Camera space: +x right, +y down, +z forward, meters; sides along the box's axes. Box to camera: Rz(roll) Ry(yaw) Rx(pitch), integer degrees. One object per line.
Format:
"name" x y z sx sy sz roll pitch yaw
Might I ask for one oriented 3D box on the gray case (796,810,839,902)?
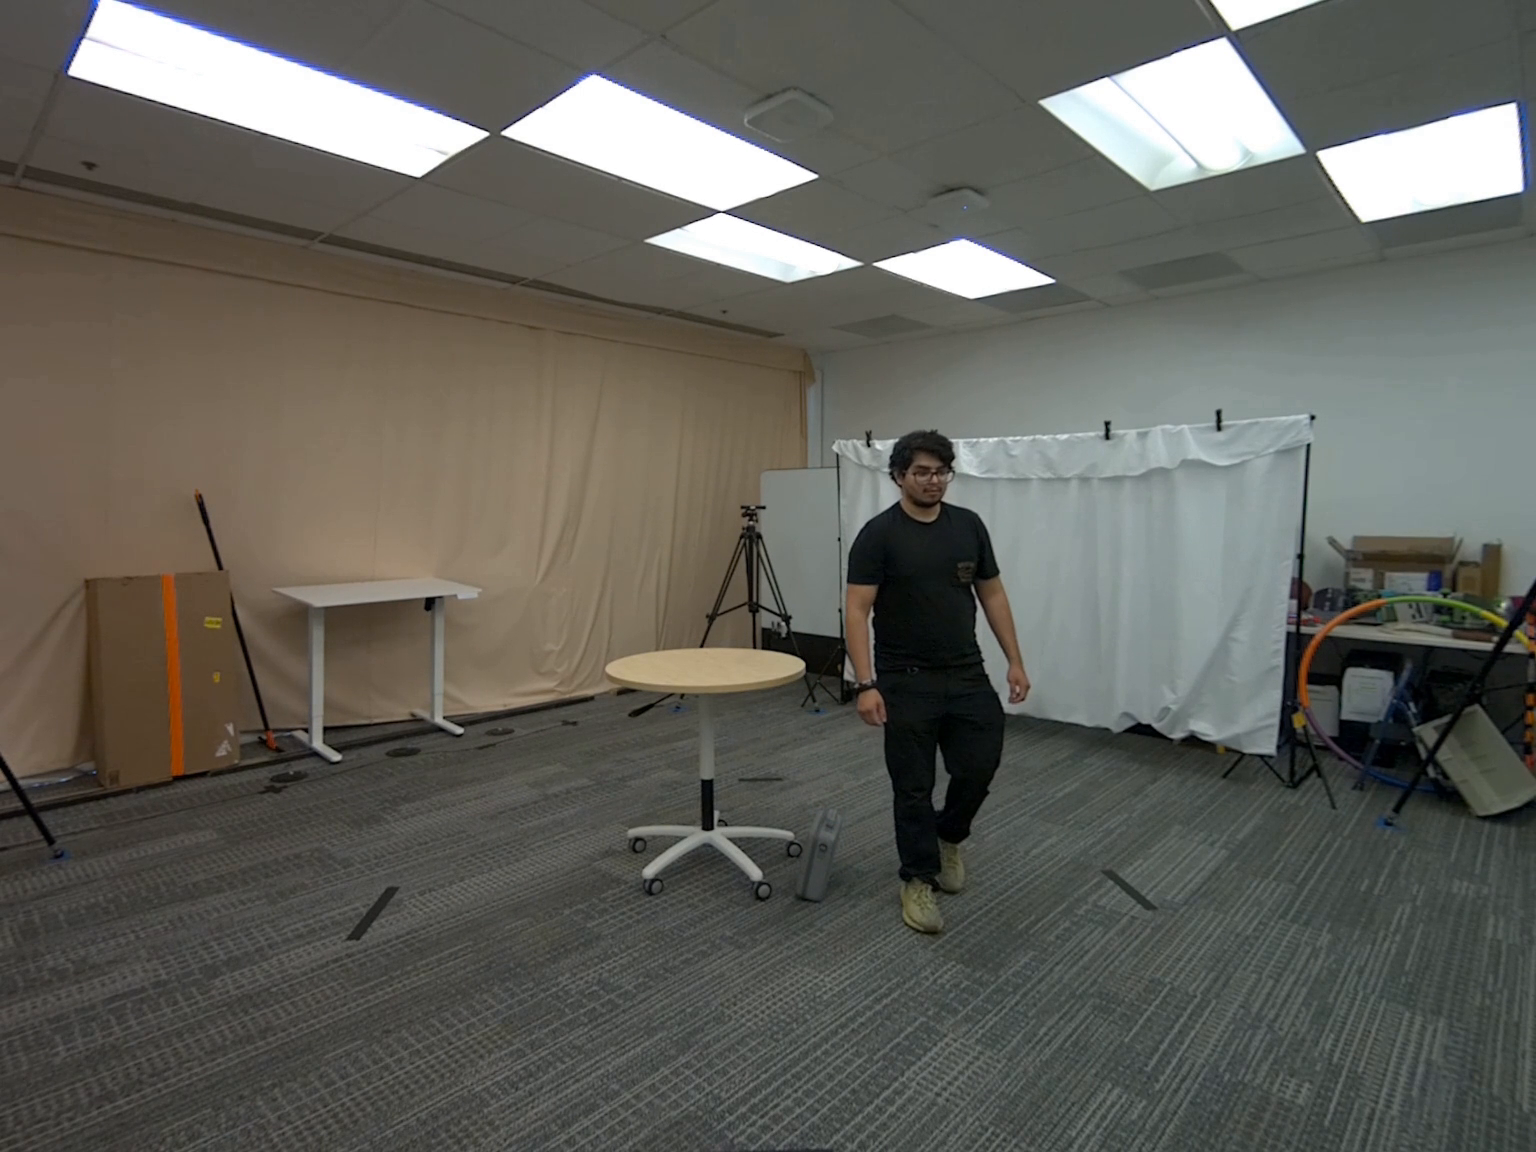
"gray case" 0.195 1.005 3.057 0.106 0.260 0.254 13 7 11
